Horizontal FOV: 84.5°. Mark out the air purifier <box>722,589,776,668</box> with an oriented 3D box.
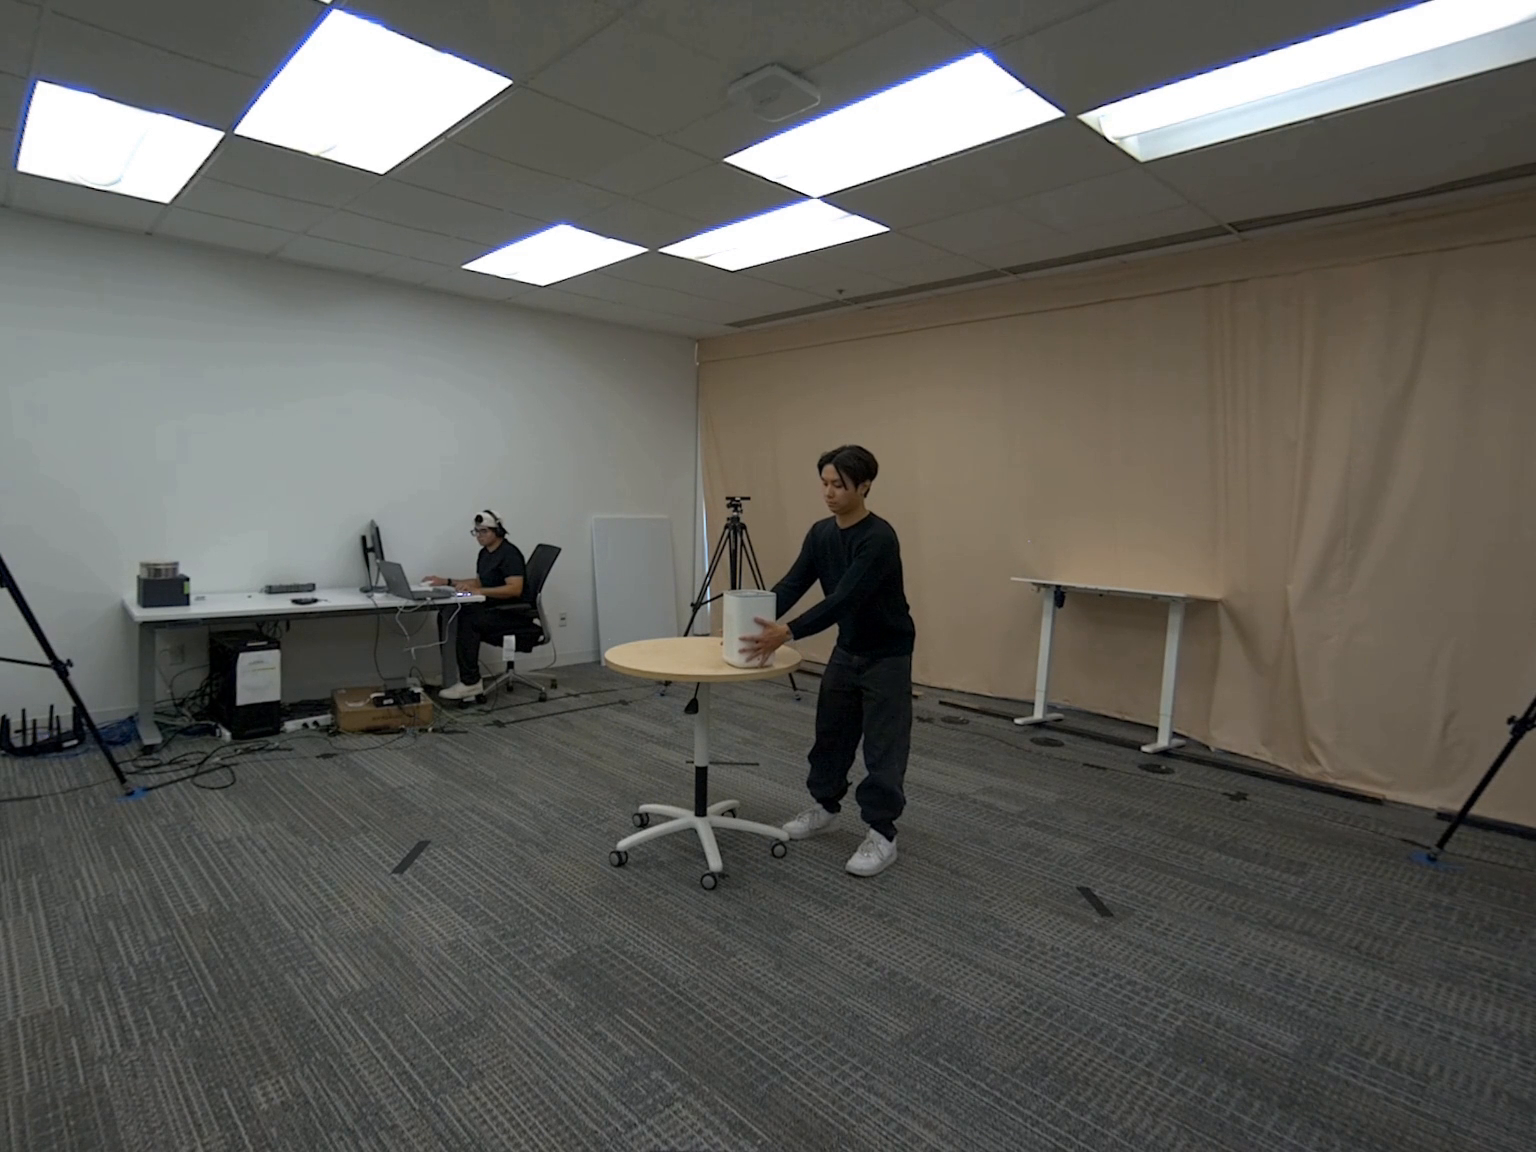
[{"bbox_3d":[-0.077,0.193,3.093,0.168,0.265,0.175,0,4,-24],"label":"air purifier"}]
